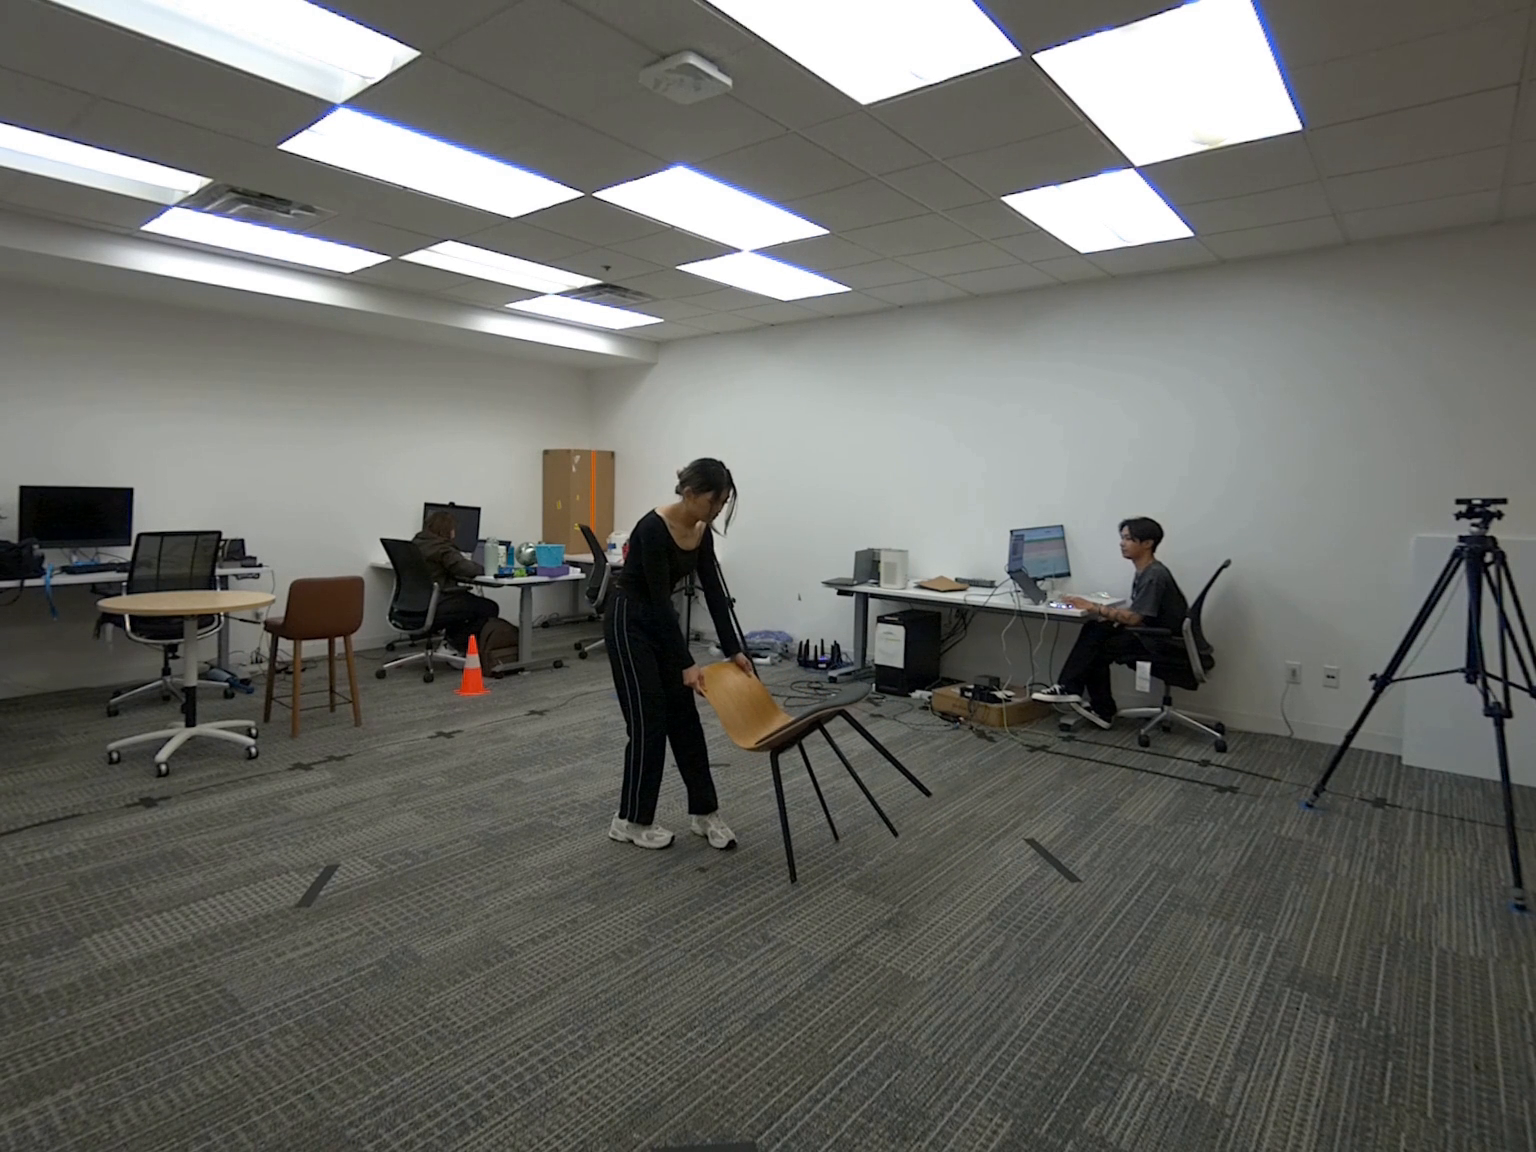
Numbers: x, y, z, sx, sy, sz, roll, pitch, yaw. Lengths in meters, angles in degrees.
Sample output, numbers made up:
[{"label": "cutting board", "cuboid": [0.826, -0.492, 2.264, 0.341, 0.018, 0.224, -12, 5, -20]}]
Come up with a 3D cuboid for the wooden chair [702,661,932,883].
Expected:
[{"label": "wooden chair", "cuboid": [0.137, 0.579, 3.188, 0.525, 0.896, 0.466, -40, -16, 24]}]
